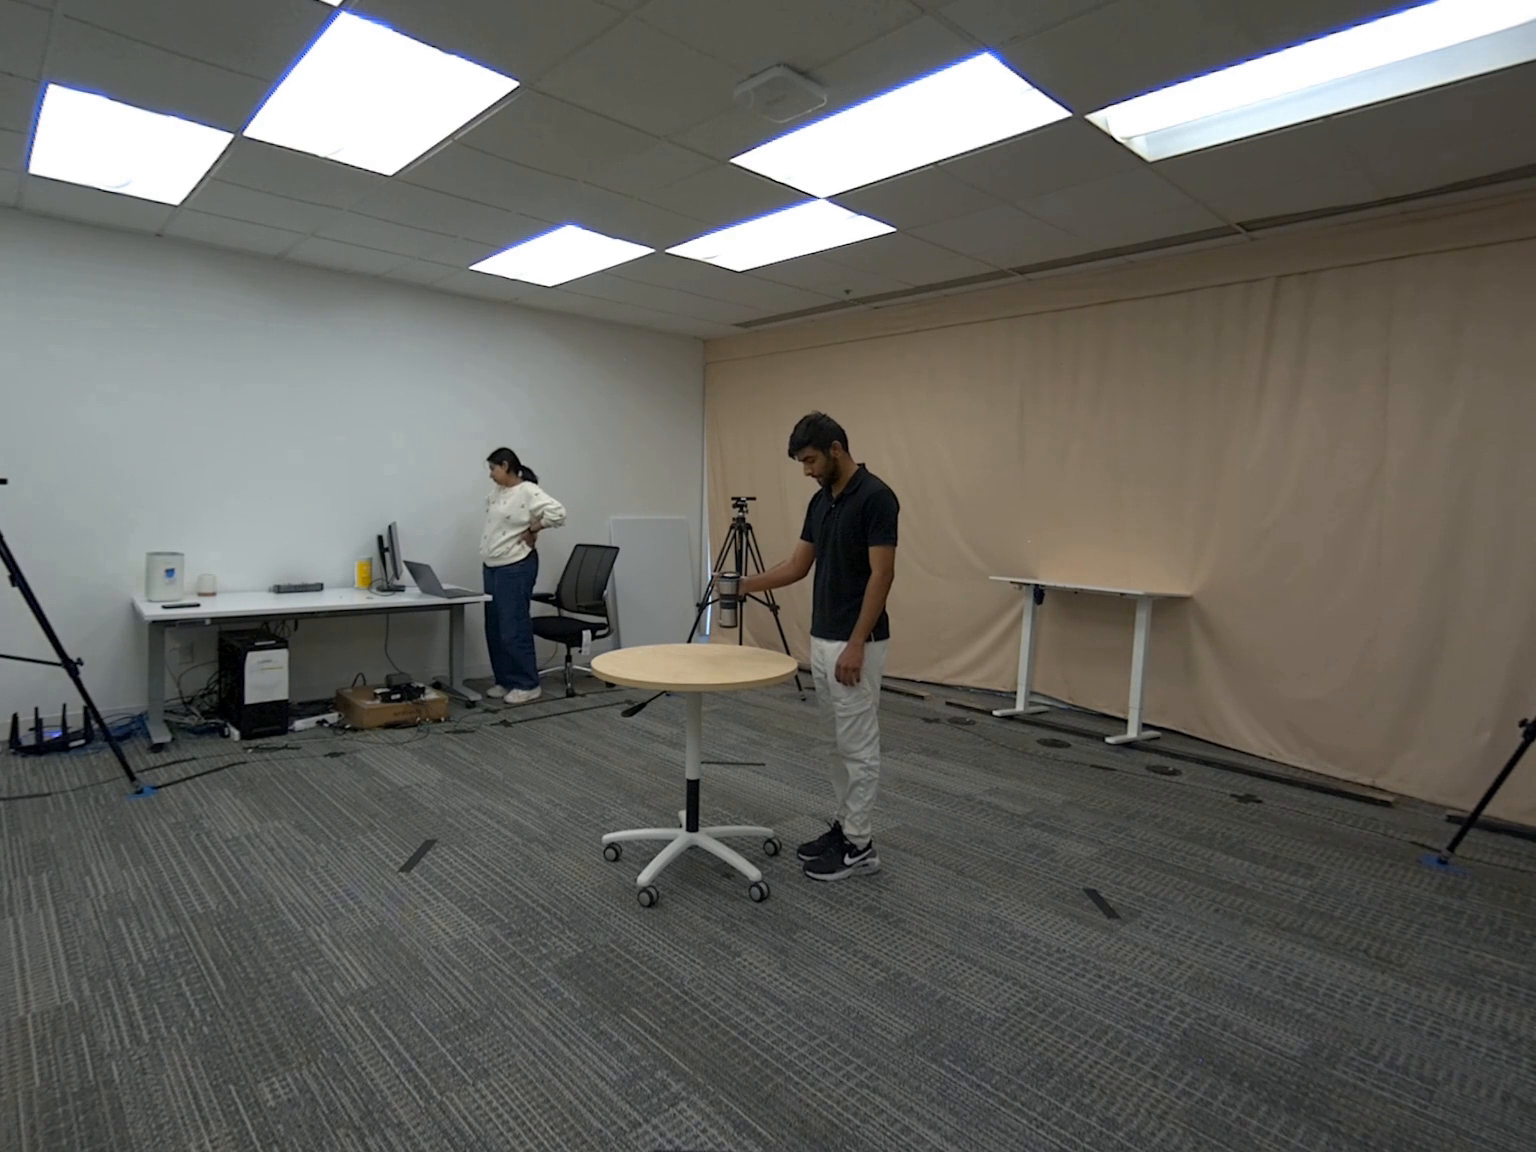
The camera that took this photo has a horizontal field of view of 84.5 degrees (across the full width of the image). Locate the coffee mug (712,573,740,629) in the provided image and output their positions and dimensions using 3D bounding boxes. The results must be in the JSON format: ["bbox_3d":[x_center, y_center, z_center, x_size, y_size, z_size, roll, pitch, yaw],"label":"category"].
[{"bbox_3d":[-0.139,0.091,3.189,0.090,0.202,0.120,3,10,28],"label":"coffee mug"}]
